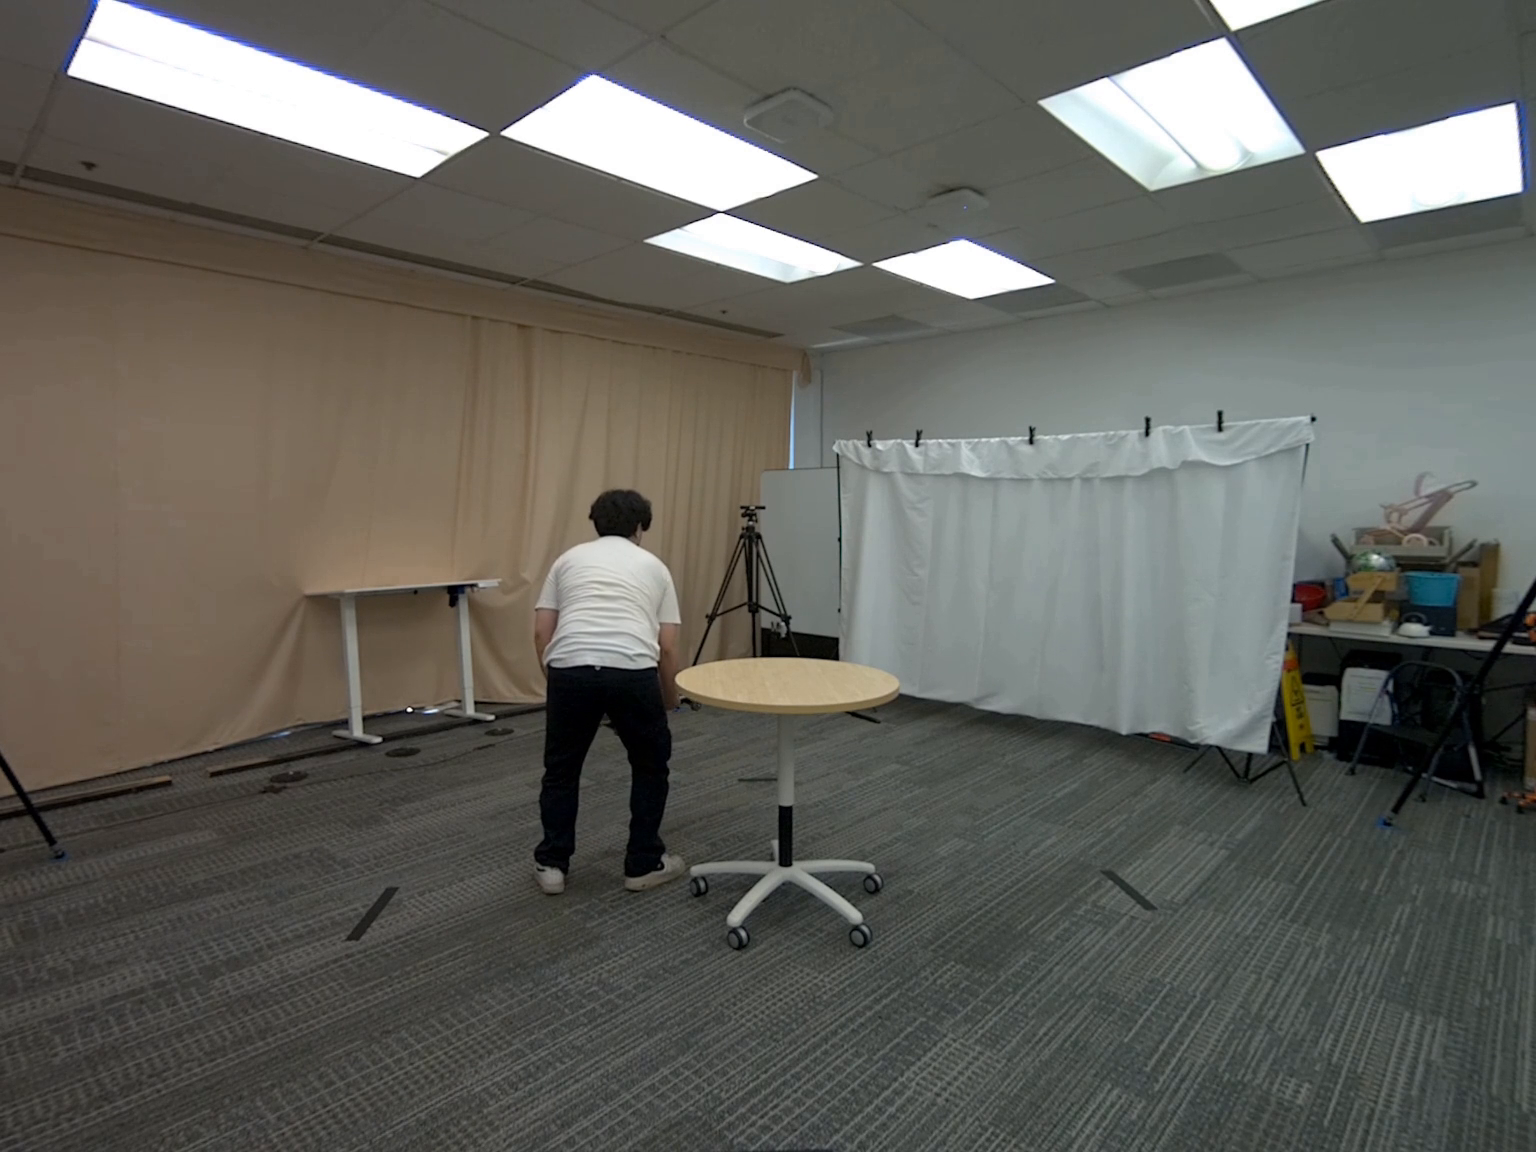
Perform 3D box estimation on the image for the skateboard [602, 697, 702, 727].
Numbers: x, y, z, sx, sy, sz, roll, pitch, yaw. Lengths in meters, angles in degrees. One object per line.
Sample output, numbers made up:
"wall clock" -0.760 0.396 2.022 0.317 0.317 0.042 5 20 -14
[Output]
"skateboard" -0.514 0.548 3.497 0.764 0.109 0.200 -12 13 -42
